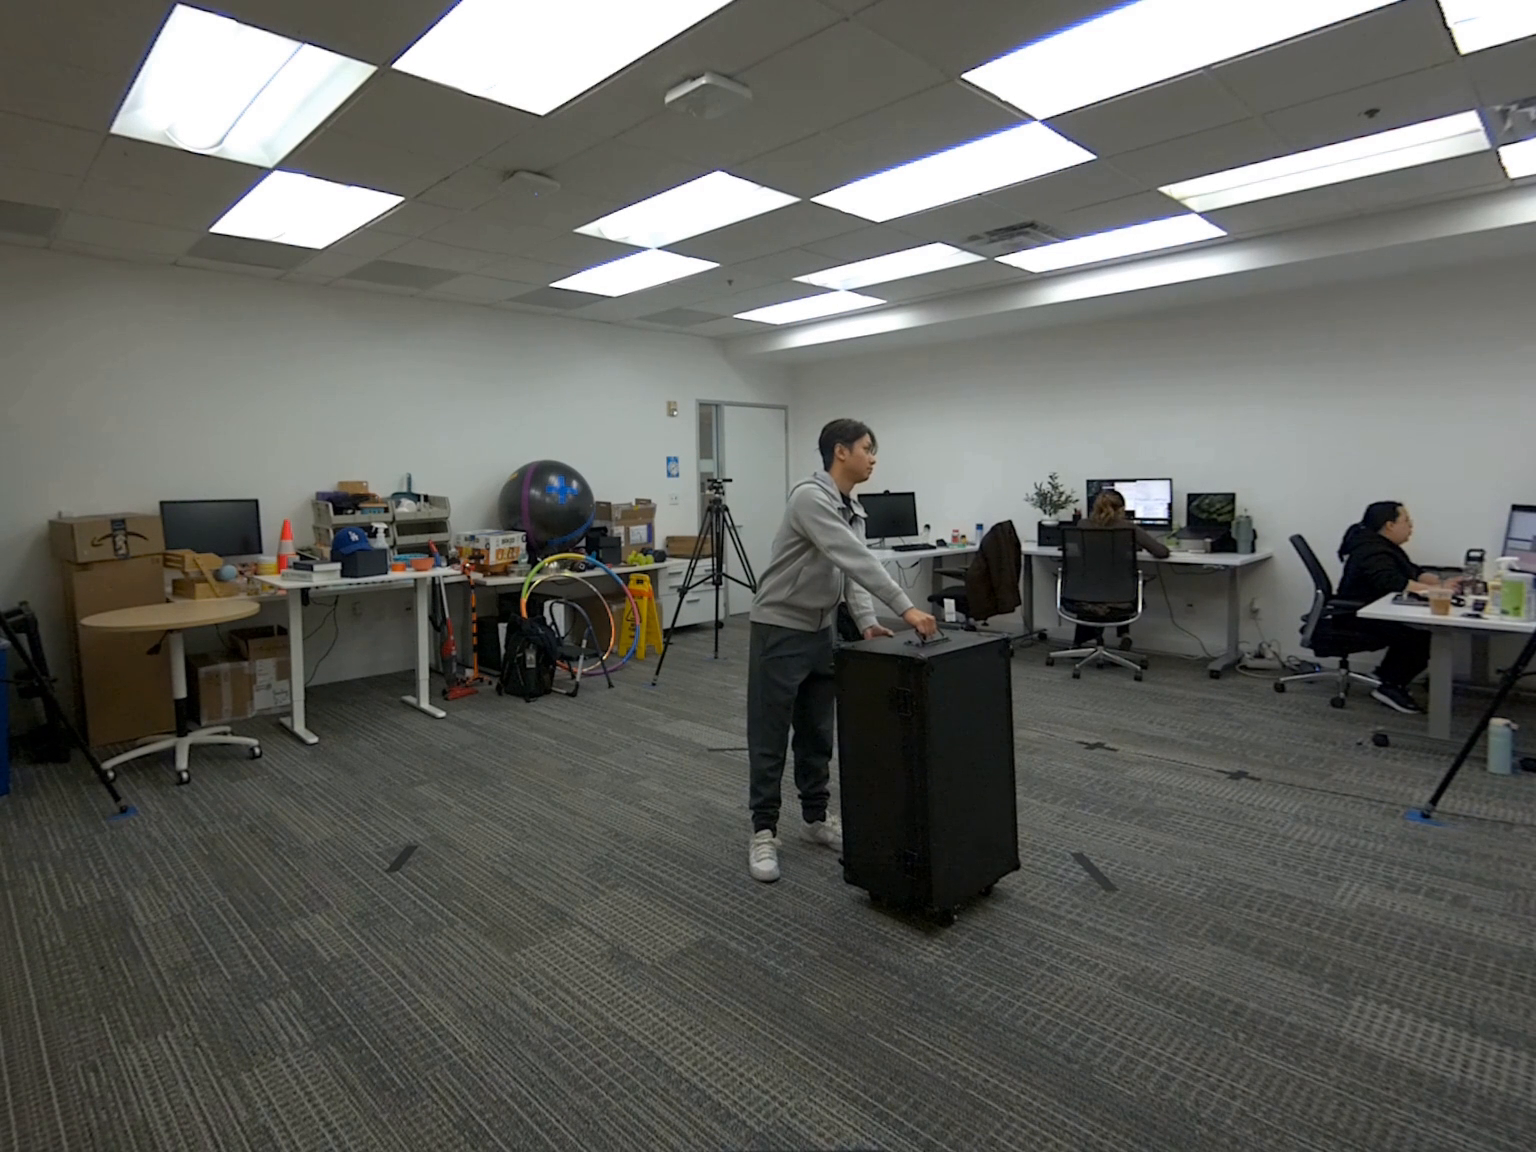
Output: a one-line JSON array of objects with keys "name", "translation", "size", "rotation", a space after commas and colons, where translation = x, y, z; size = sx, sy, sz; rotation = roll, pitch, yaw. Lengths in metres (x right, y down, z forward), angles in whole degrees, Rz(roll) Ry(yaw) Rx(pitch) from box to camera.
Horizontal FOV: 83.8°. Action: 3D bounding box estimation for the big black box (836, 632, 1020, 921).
[{"name": "big black box", "translation": [0.522, 0.640, 2.816], "size": [0.507, 0.860, 0.407], "rotation": [-5, 3, -42]}]
